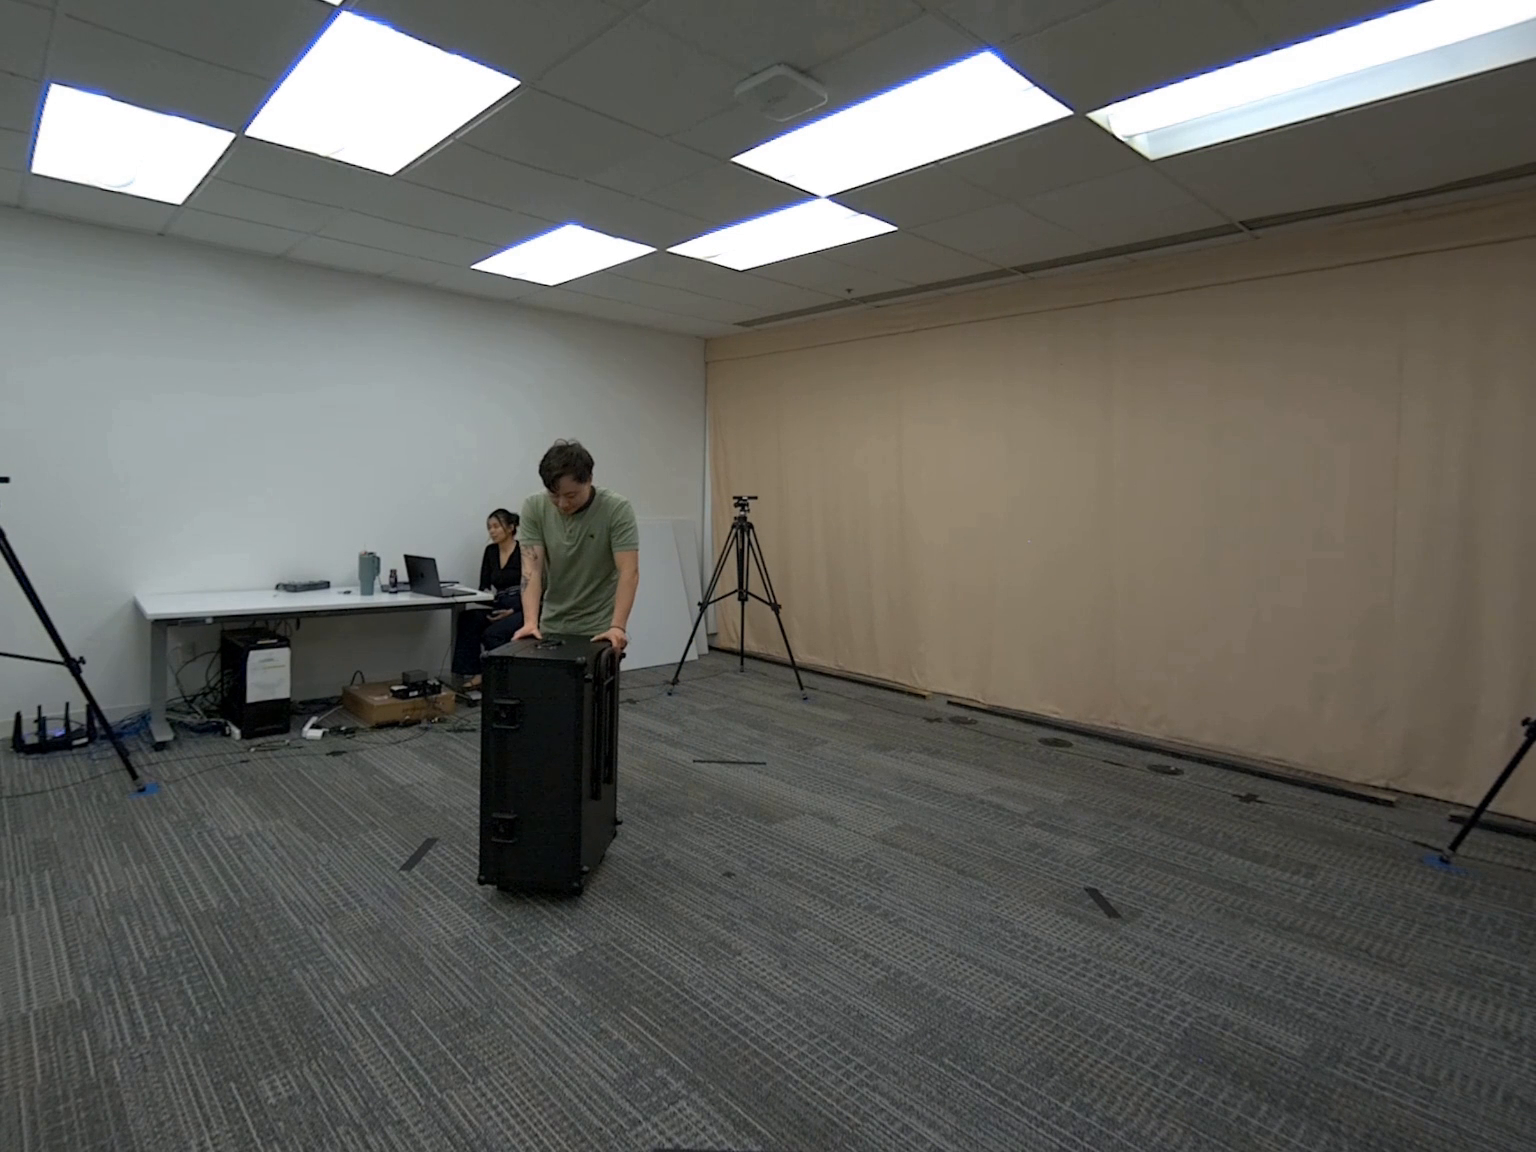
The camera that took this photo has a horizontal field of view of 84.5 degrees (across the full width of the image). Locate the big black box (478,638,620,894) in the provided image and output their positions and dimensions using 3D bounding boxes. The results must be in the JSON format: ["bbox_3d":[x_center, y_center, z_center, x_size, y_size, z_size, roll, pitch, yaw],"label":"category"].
[{"bbox_3d":[-0.767,0.679,3.027,0.398,0.859,0.520,3,4,5],"label":"big black box"}]
